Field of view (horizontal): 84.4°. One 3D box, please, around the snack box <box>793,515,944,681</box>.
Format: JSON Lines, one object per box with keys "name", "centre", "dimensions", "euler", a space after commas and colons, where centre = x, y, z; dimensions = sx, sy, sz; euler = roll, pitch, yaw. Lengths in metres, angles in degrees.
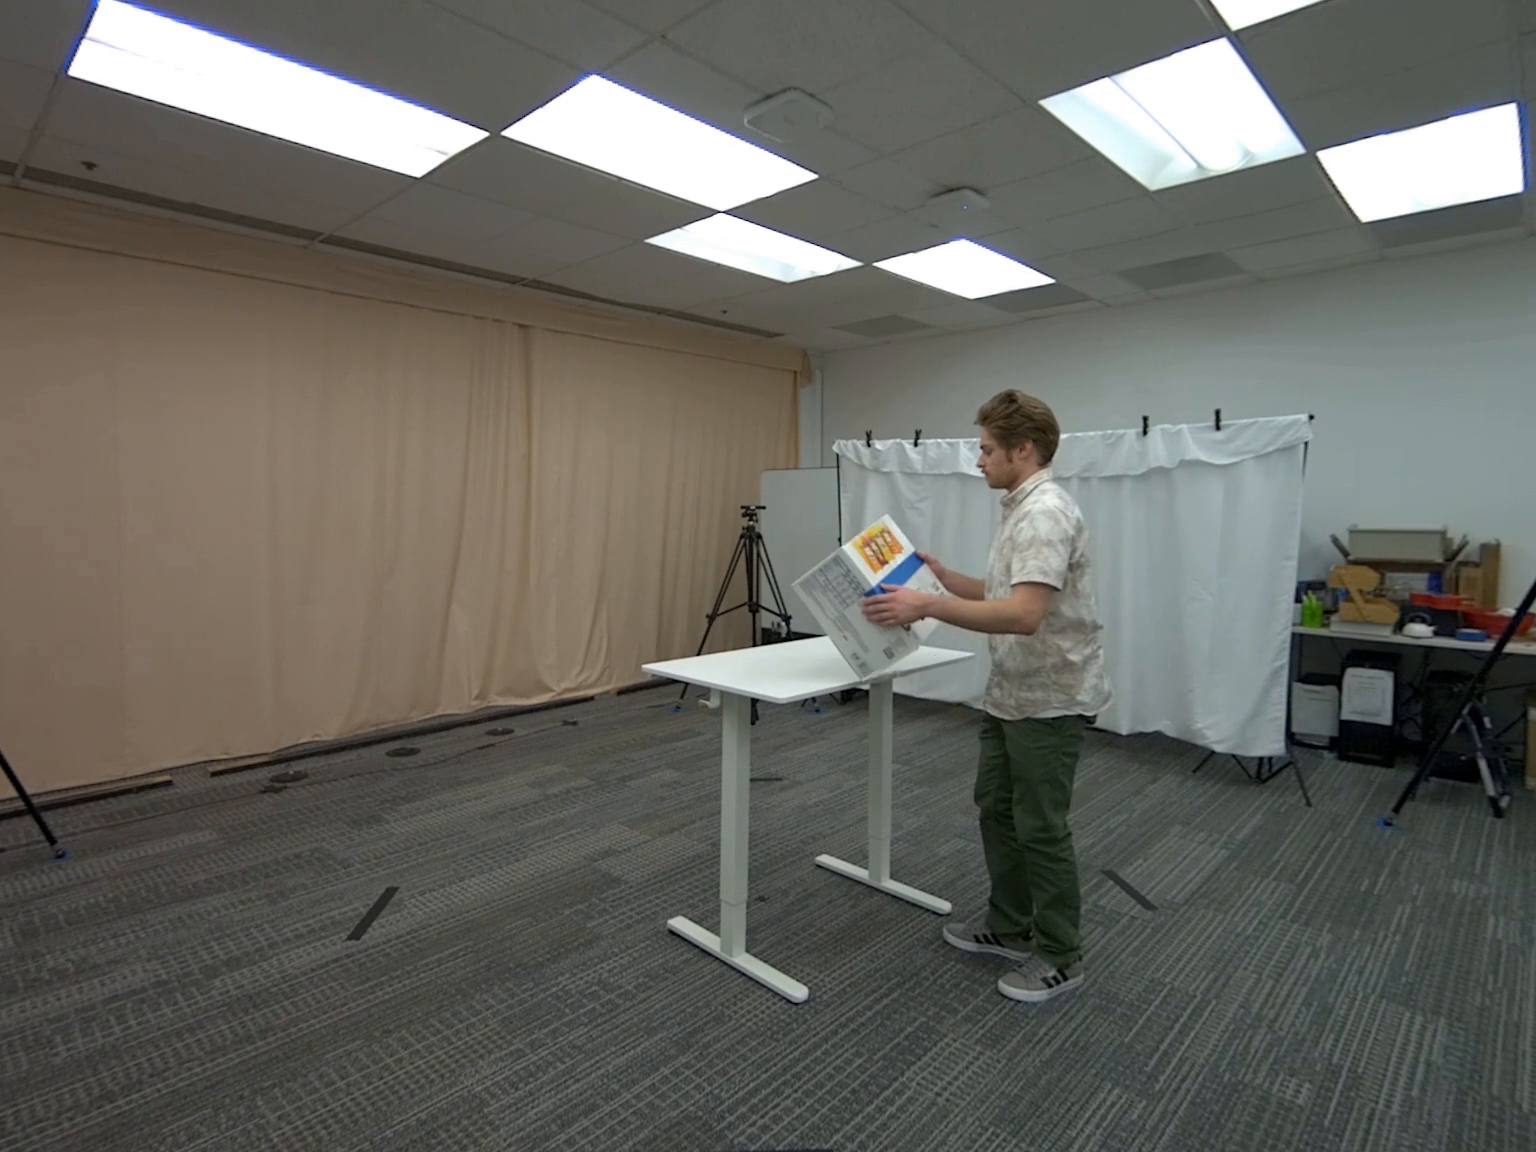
{"name": "snack box", "centre": [0.329, 0.063, 2.483], "dimensions": [0.208, 0.342, 0.398], "euler": [-39, -4, 32]}
